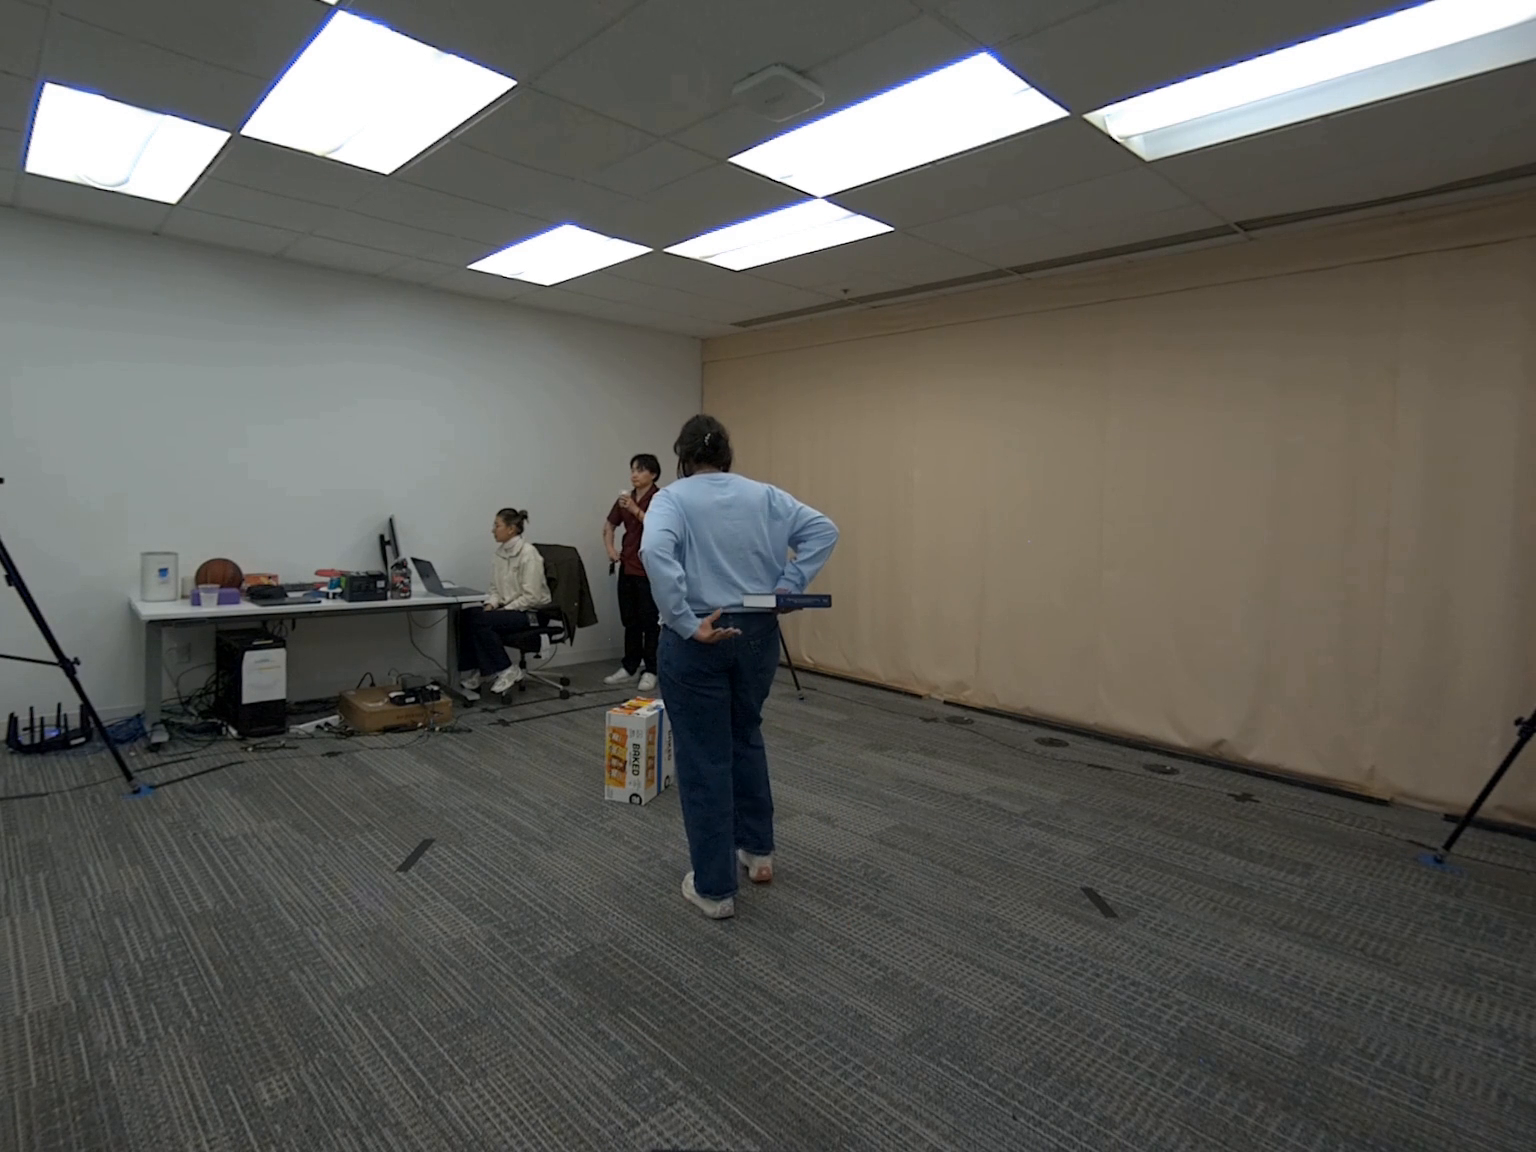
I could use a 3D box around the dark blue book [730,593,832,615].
[{"bbox_3d":[0.055,0.080,2.679,0.239,0.045,0.167,1,-2,-40],"label":"dark blue book"}]
